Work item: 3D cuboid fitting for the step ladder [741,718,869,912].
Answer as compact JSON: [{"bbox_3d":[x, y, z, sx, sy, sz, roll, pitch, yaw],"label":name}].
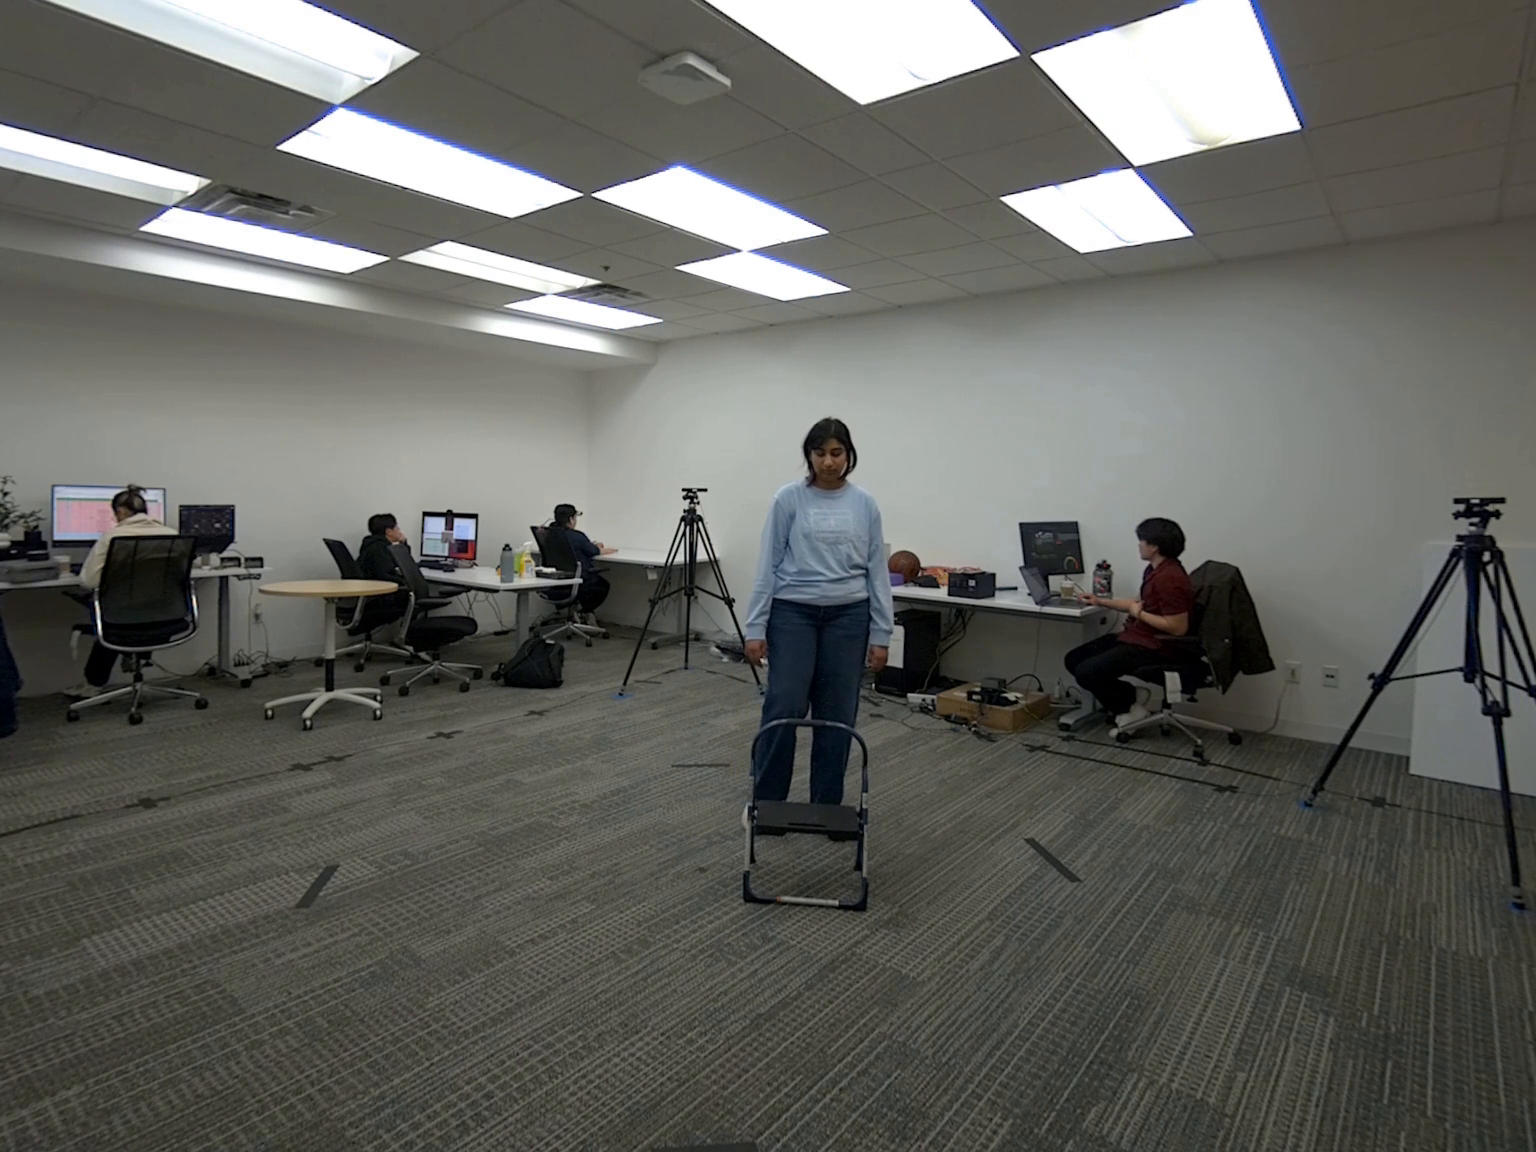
[{"bbox_3d":[0.129,0.788,2.993,0.433,0.605,0.348,1,2,4],"label":"step ladder"}]
